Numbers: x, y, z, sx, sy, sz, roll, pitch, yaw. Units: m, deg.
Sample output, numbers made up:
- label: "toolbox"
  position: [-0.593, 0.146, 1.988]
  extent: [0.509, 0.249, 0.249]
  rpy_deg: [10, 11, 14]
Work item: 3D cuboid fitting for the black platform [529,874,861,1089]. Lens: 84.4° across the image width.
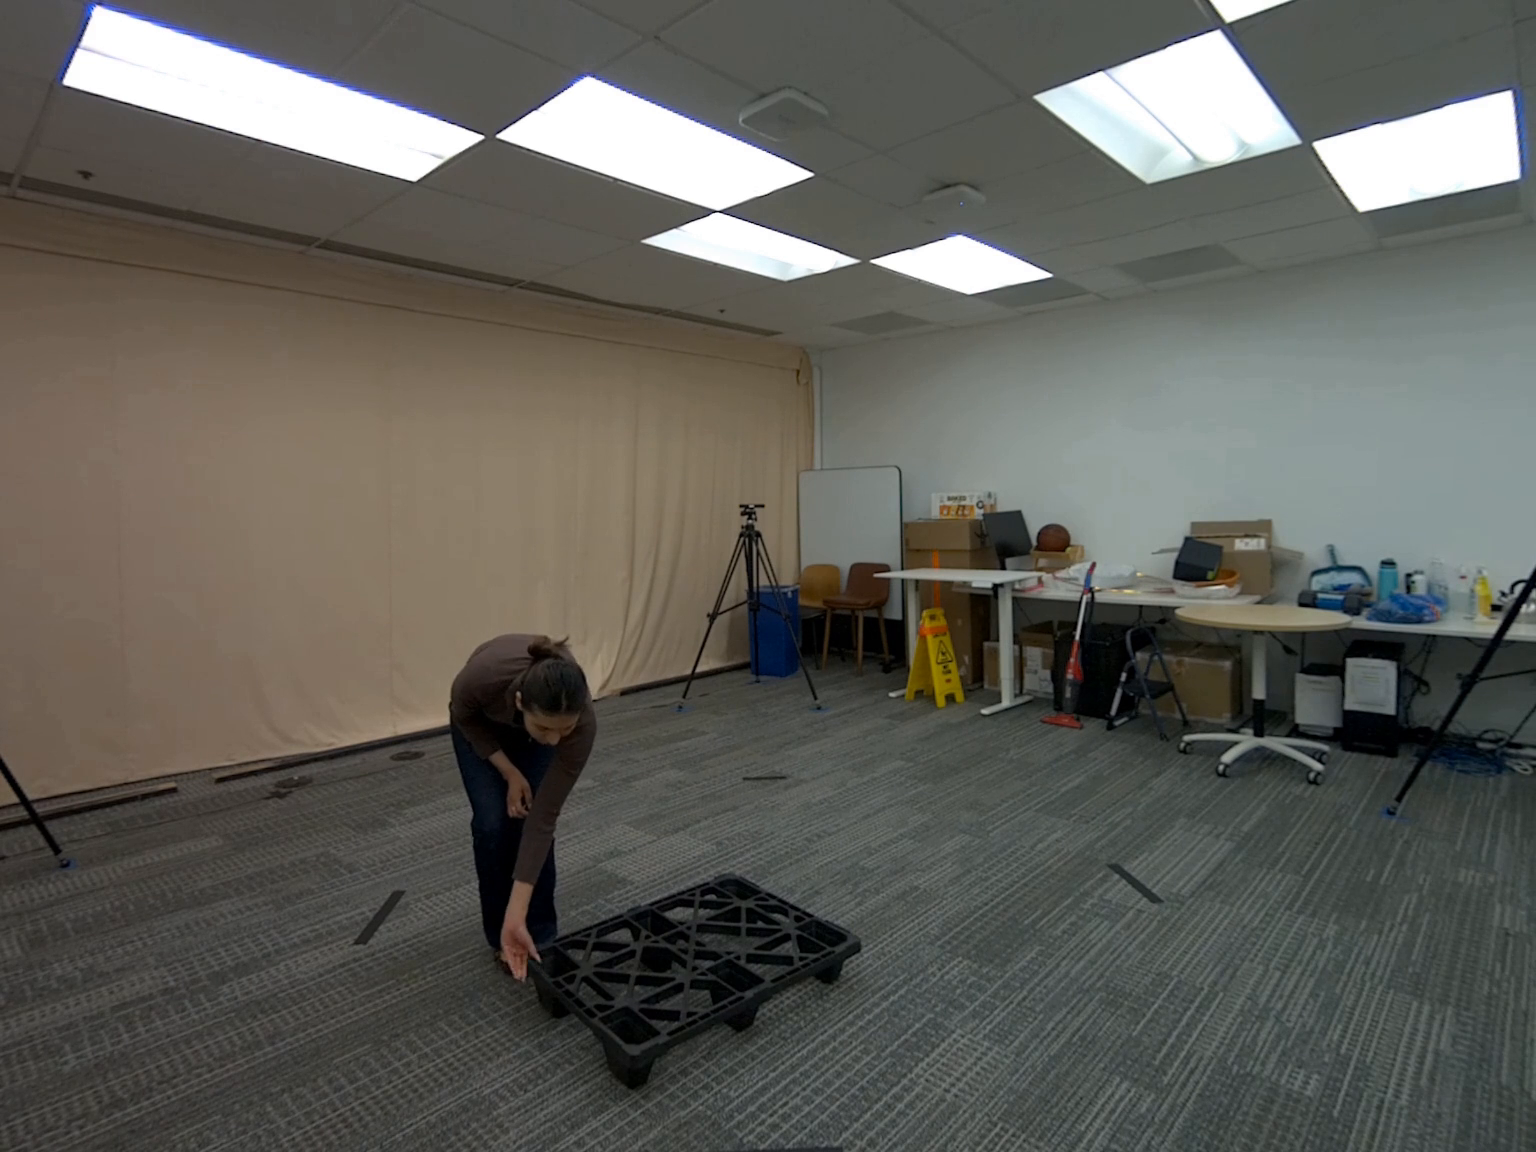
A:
- label: "black platform"
  position: [-0.219, 1.124, 2.414]
  extent: [0.781, 0.143, 0.625]
  rpy_deg: [-5, 5, -40]
